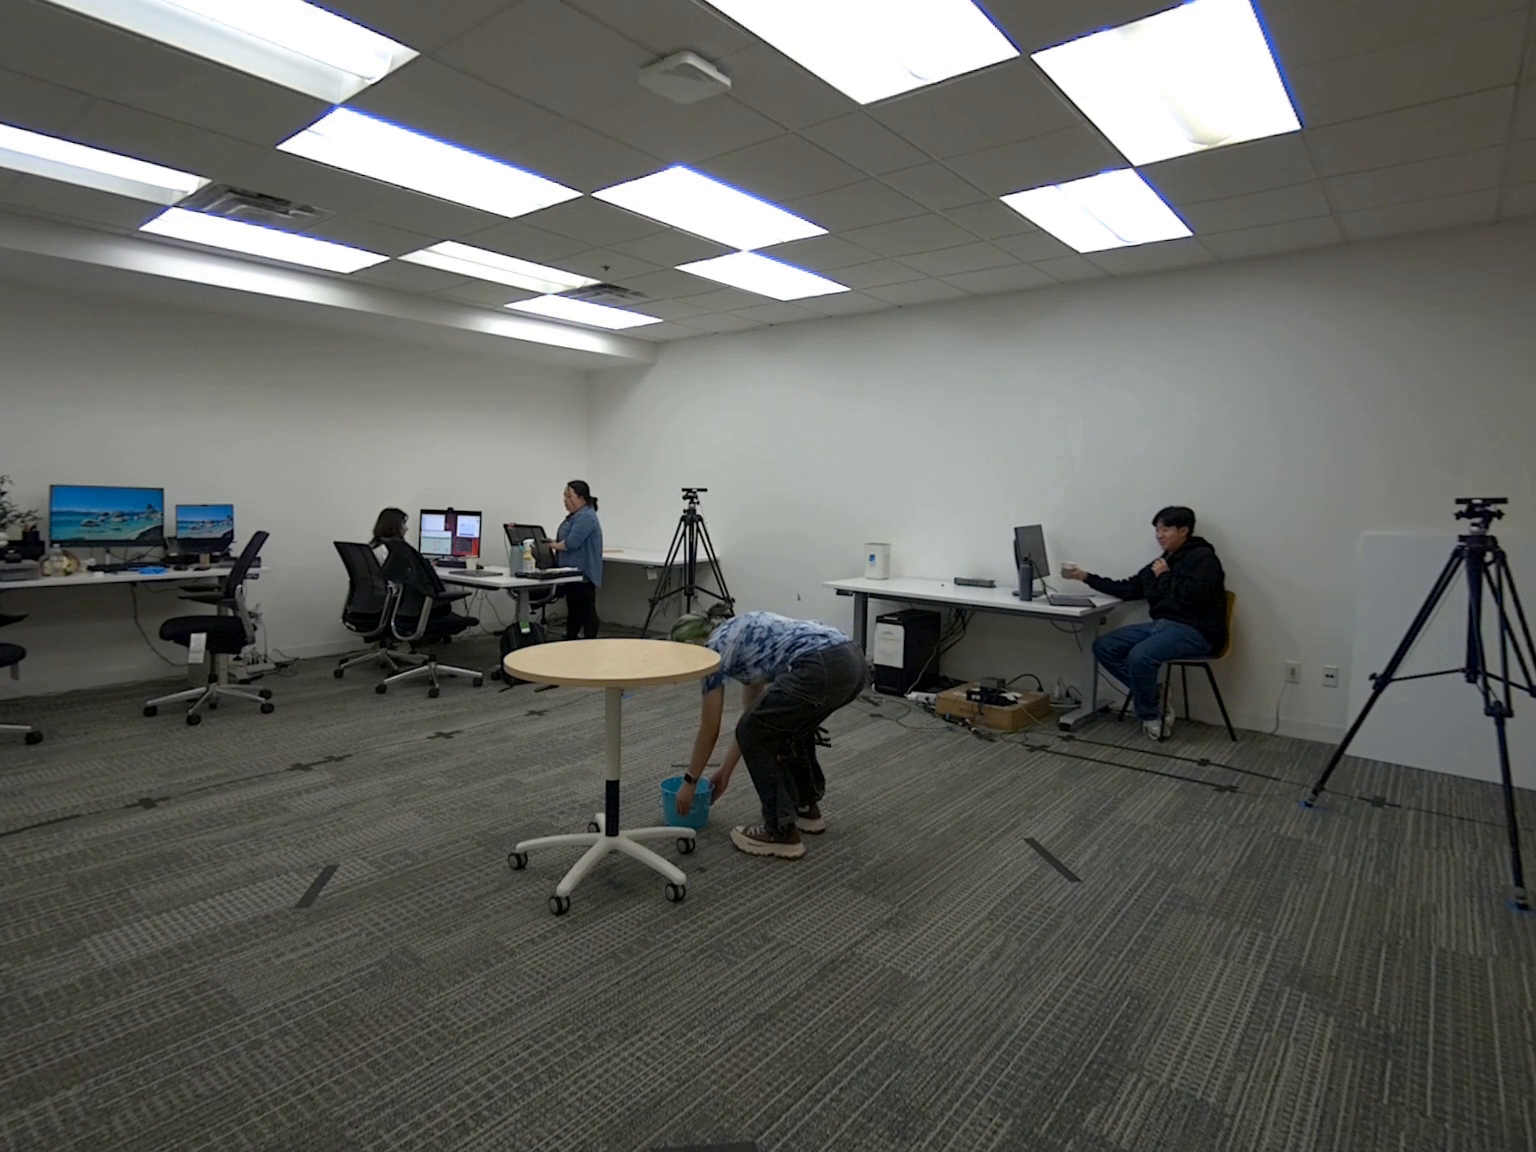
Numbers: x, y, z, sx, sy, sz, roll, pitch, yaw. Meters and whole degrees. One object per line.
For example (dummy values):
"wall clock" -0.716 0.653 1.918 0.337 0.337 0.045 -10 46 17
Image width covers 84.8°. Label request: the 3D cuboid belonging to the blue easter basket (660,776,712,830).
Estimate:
"blue easter basket" -0.347 0.938 3.572 0.243 0.155 0.245 1 4 -2
